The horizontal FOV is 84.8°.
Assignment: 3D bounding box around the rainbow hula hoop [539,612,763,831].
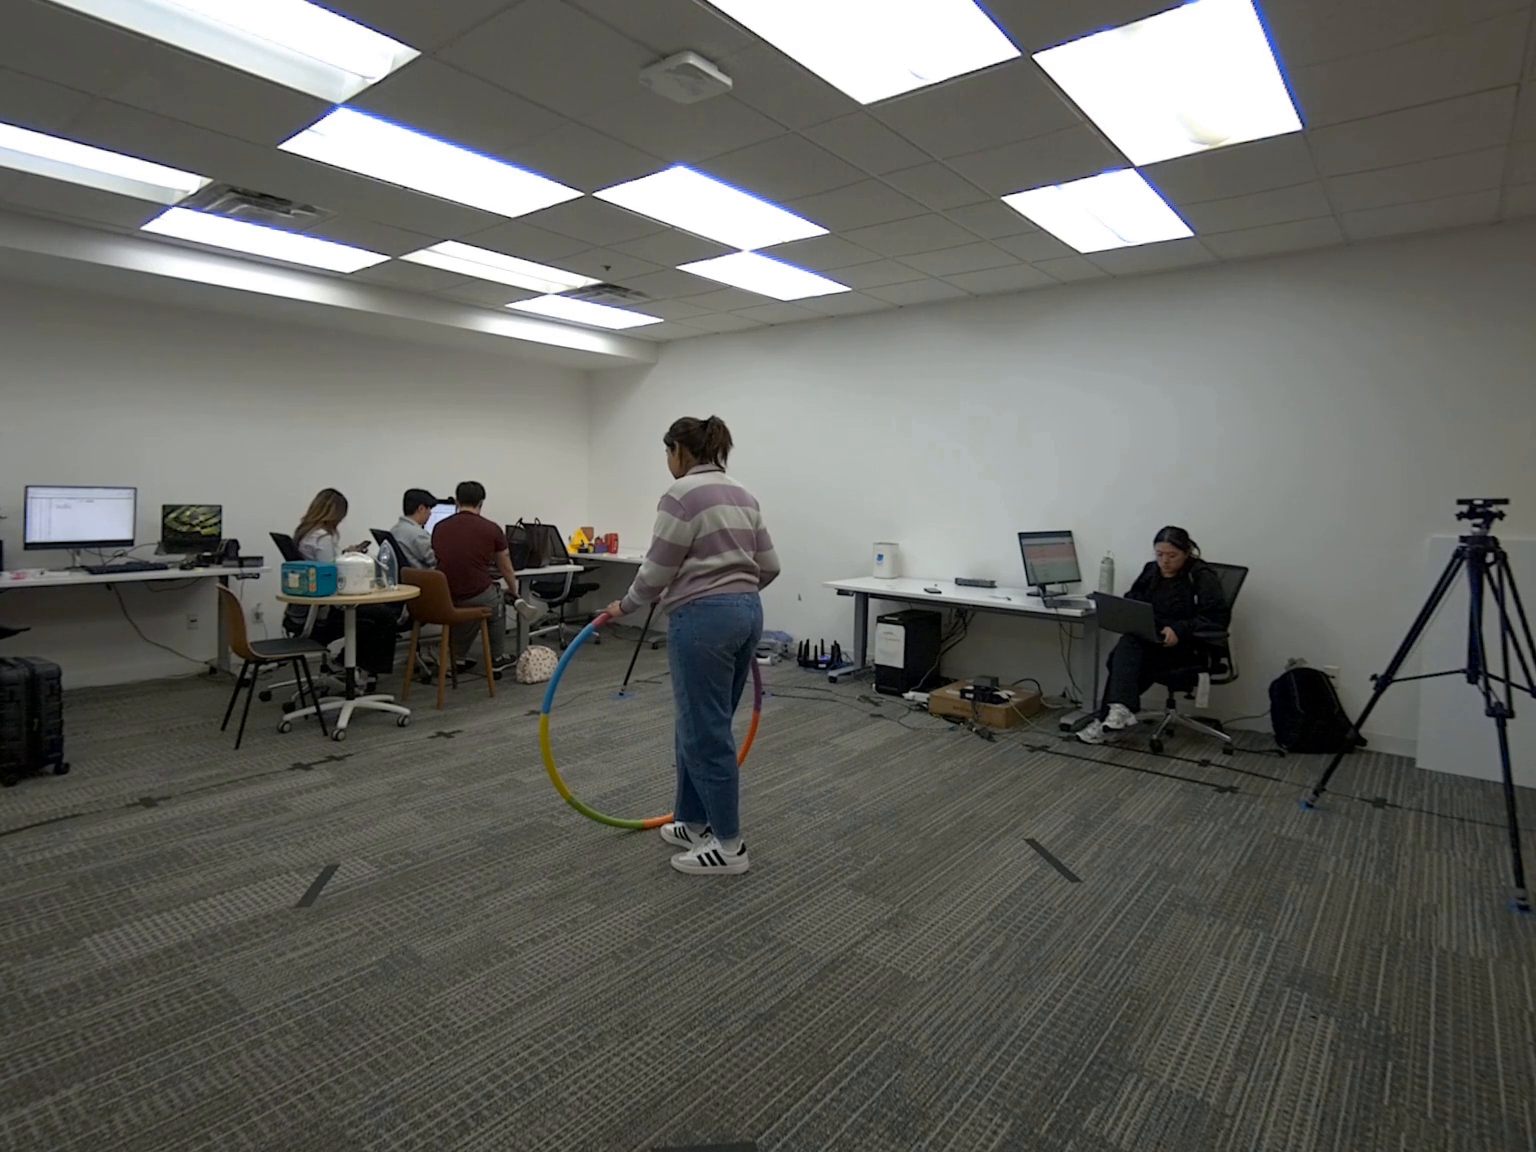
[{"bbox_3d":[-0.457,0.550,3.451,0.959,0.980,0.053,-1,6,-30],"label":"rainbow hula hoop"}]
